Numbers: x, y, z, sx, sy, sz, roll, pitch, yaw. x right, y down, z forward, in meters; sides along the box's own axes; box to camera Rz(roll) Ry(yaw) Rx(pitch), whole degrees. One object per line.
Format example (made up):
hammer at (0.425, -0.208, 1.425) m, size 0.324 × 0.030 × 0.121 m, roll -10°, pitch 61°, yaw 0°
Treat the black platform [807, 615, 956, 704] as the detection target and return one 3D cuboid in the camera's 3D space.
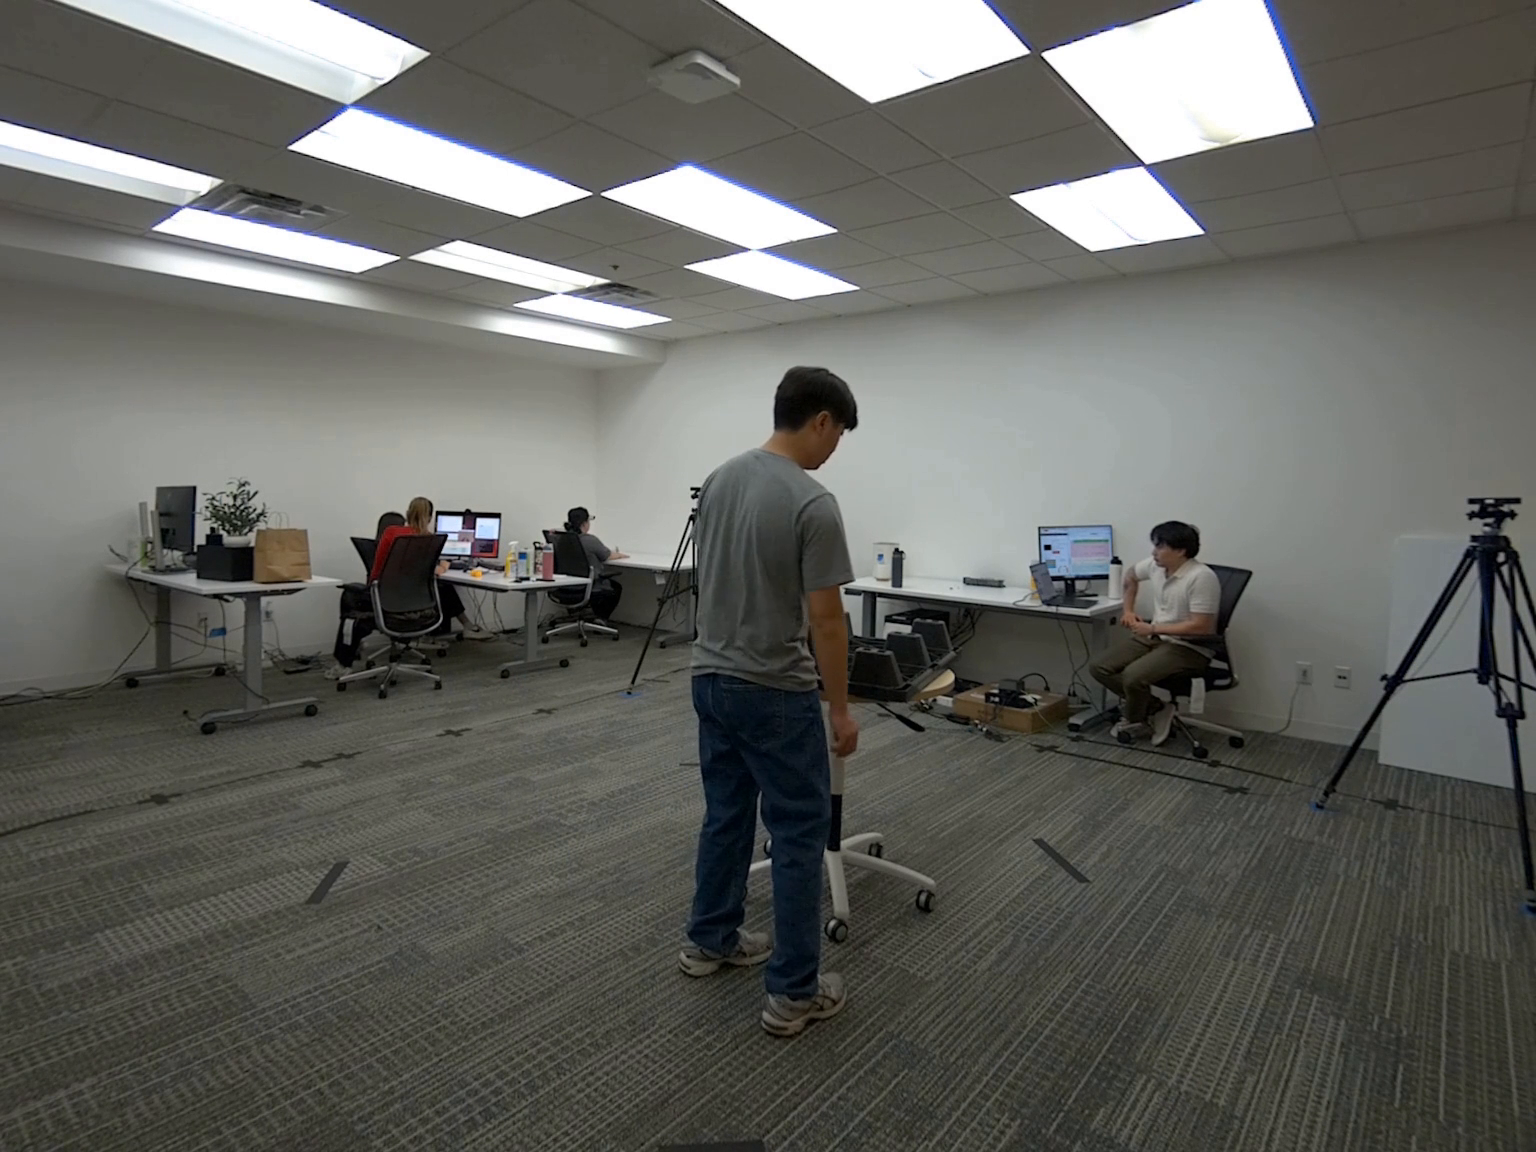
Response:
black platform at (0.282, 0.245, 2.948) m, size 0.621 × 0.142 × 0.788 m, roll 5°, pitch 7°, yaw 25°
